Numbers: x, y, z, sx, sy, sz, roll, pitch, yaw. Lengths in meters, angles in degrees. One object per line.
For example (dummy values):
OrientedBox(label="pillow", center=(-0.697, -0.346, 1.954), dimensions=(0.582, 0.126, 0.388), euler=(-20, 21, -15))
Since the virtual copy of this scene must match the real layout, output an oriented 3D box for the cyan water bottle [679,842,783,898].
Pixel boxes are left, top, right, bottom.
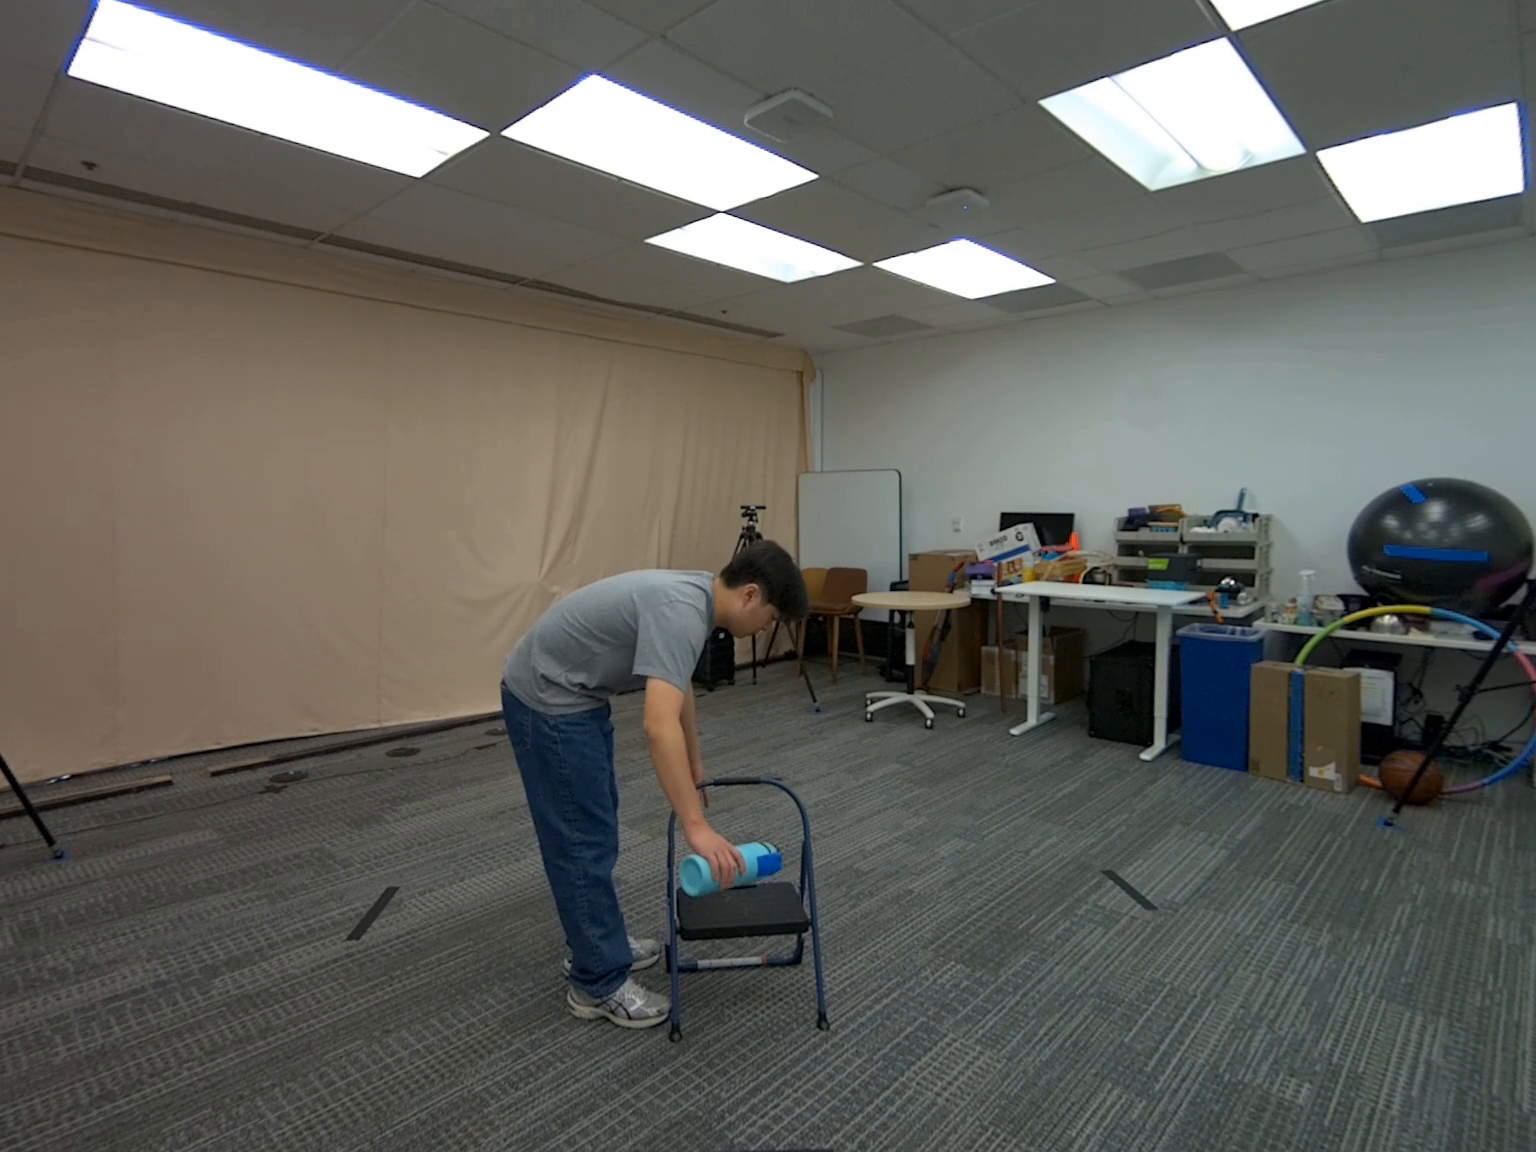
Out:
OrientedBox(label="cyan water bottle", center=(-0.078, 0.689, 2.014), dimensions=(0.274, 0.092, 0.095), euler=(7, -2, -40))
